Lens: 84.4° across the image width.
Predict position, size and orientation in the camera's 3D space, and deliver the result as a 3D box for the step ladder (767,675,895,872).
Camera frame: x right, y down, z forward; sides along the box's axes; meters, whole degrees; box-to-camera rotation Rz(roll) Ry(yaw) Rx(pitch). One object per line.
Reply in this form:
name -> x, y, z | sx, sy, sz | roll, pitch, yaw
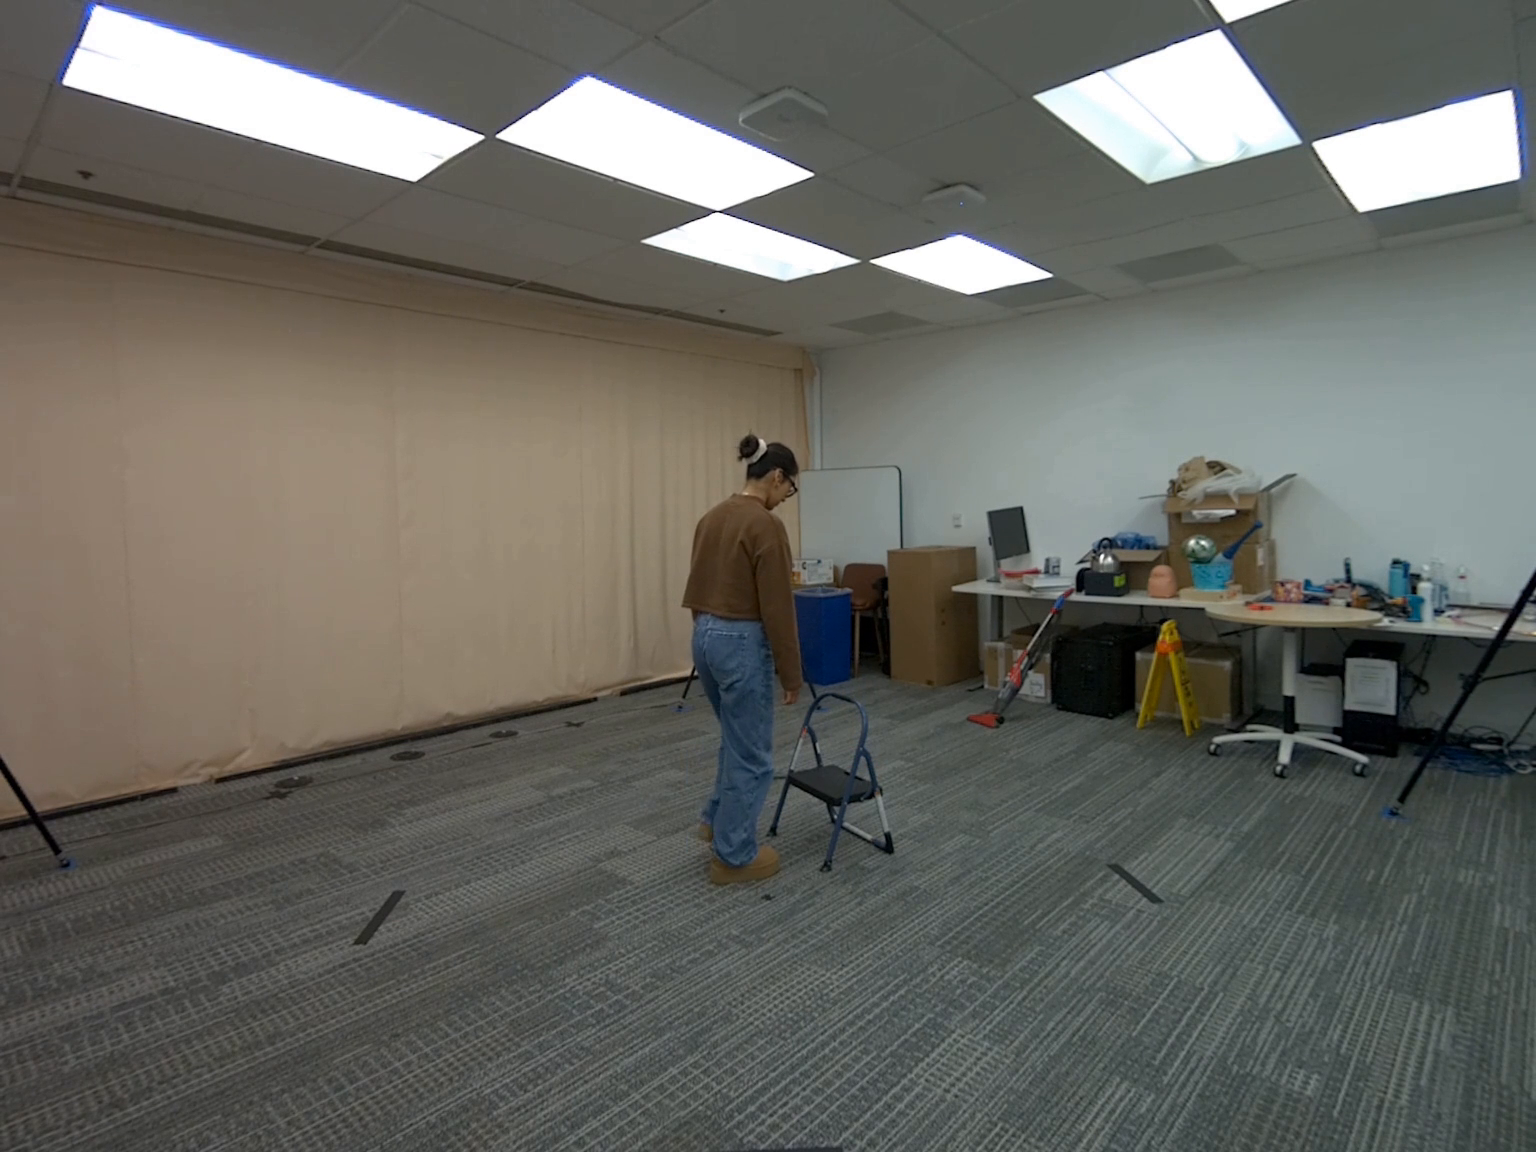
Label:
step ladder -> 0.247, 0.791, 3.427 | 0.340, 0.605, 0.443 | -3, 4, -30
